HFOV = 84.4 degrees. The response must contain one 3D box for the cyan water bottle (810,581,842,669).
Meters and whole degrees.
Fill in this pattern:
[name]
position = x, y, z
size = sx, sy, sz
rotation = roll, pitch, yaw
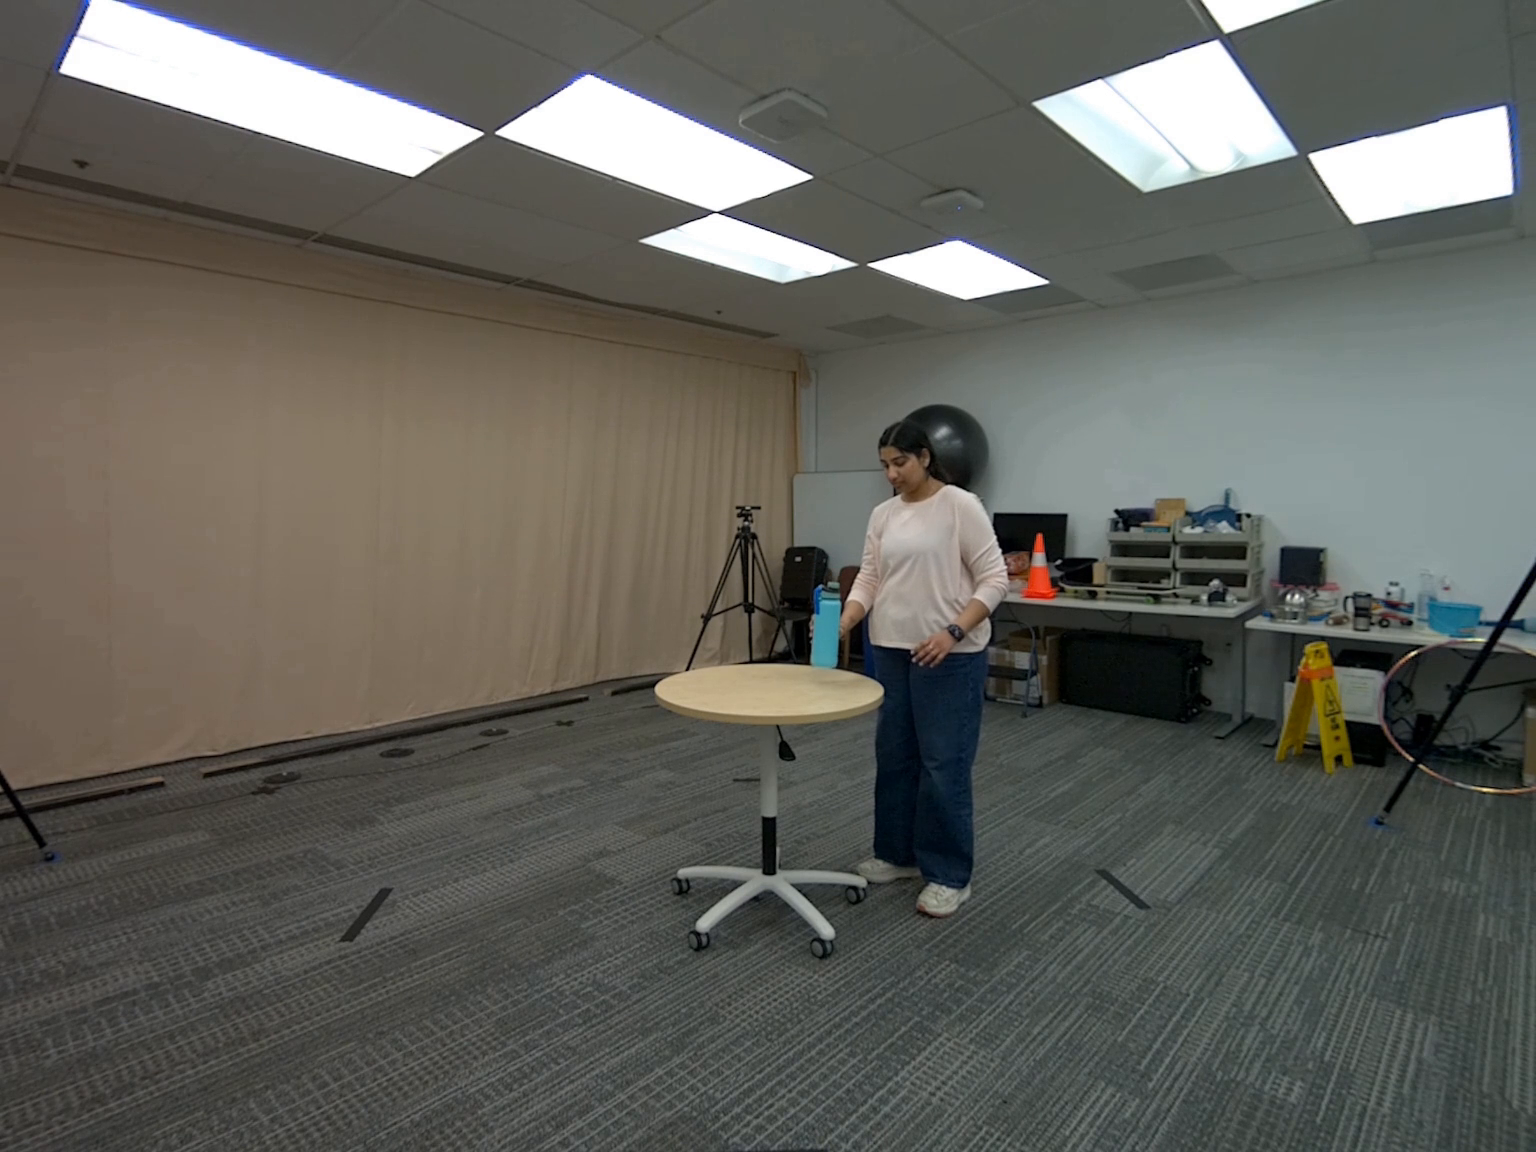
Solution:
[cyan water bottle]
position = 0.208, 0.164, 2.861
size = 0.092, 0.282, 0.093
rotation = 1, 5, -2
